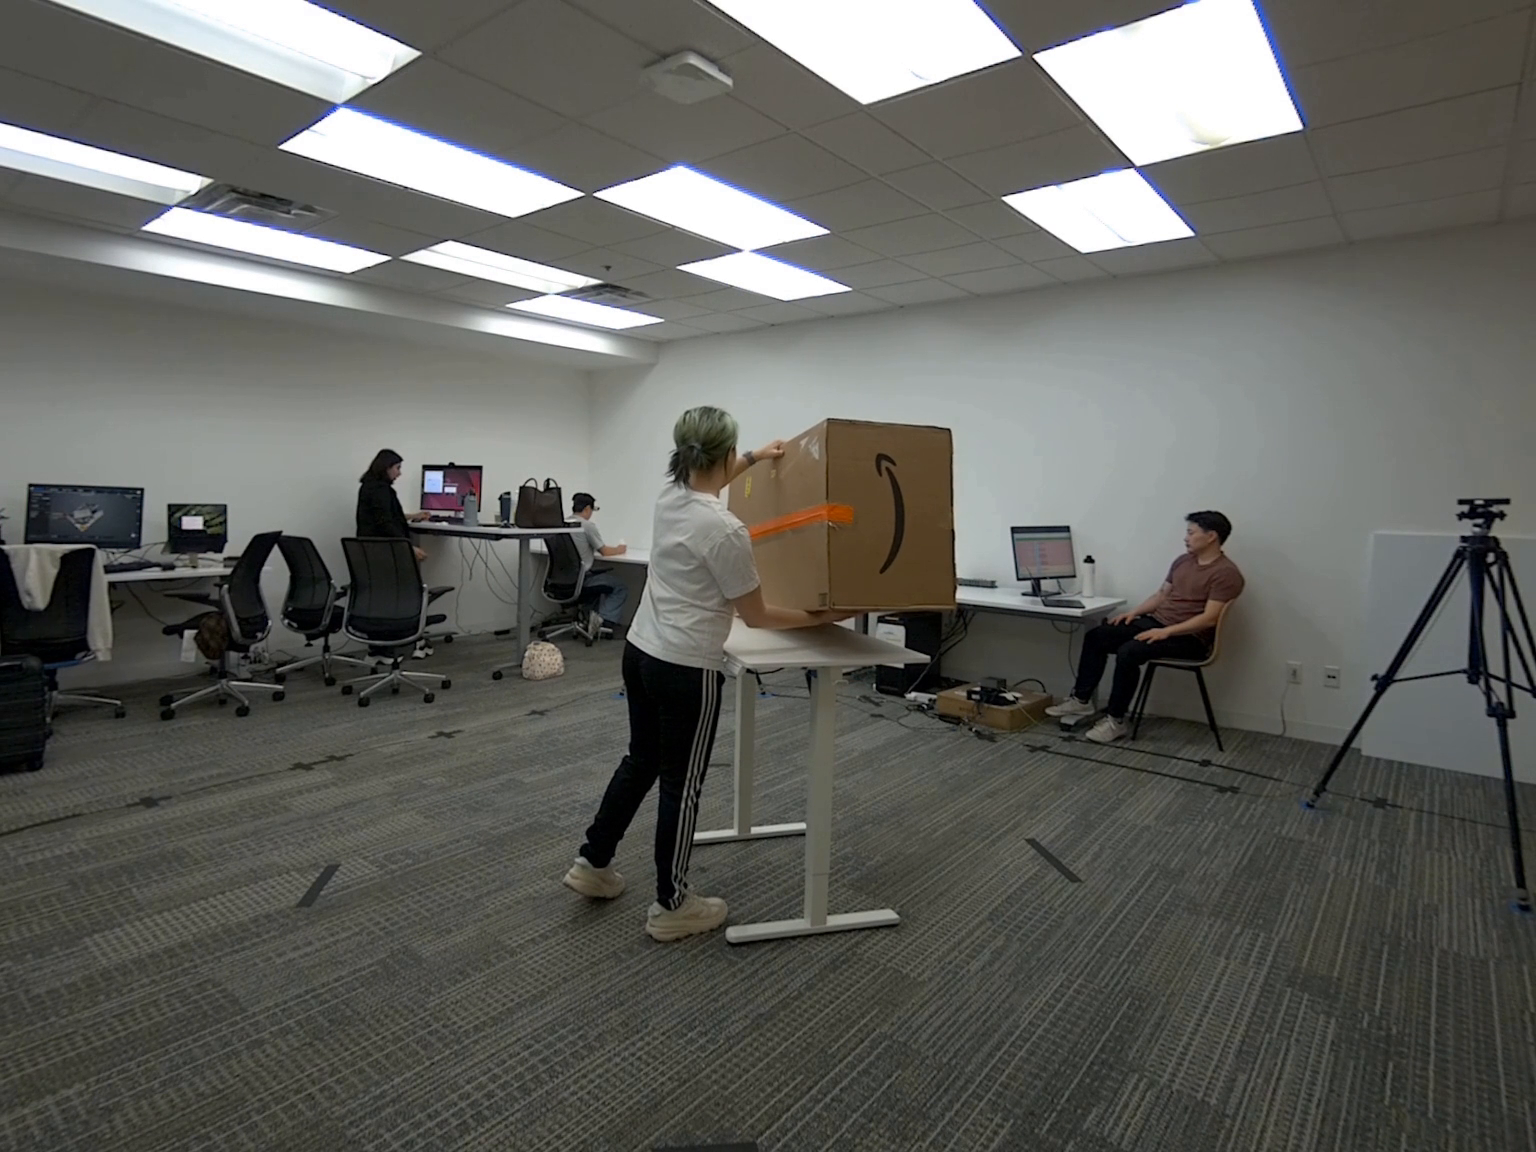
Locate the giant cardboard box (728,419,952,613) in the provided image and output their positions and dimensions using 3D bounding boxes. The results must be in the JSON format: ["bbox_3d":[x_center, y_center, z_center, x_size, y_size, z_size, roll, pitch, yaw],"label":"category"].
[{"bbox_3d":[0.183,-0.151,3.057,0.440,0.587,1.038,2,-4,-16],"label":"giant cardboard box"}]
